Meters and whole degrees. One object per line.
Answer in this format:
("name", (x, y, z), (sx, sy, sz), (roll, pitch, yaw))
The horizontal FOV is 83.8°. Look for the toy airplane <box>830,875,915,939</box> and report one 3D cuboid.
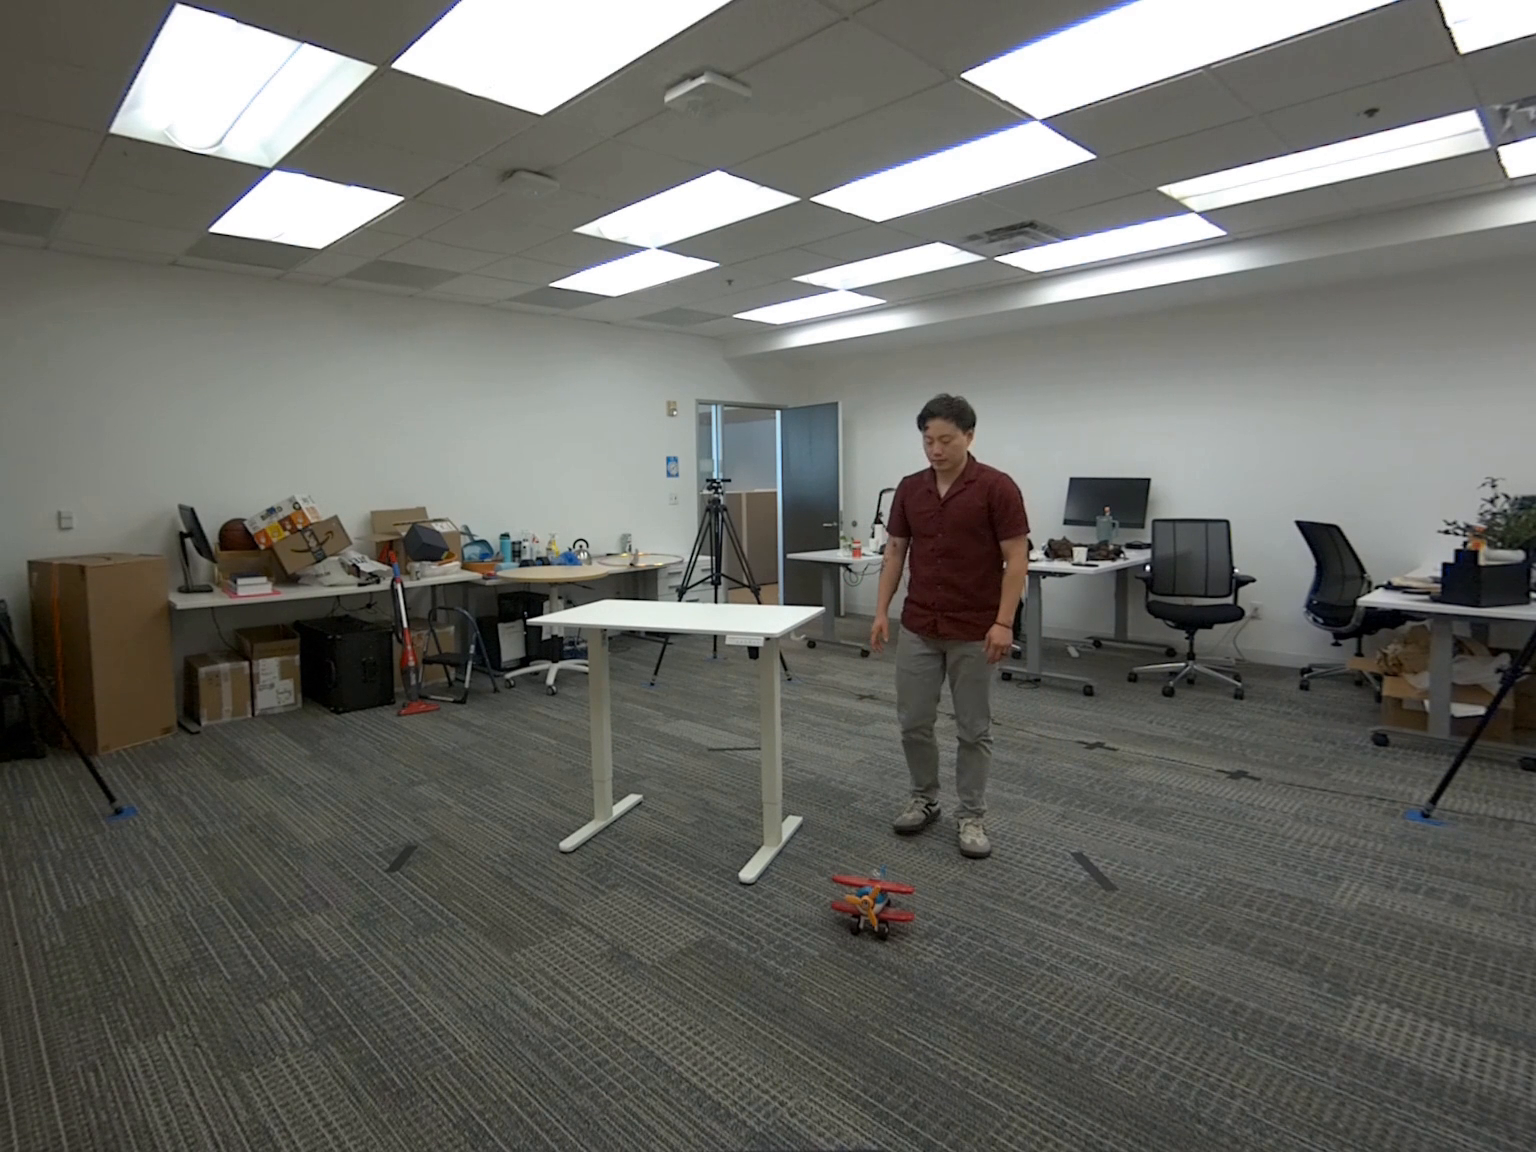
("toy airplane", (0.314, 1.015, 2.686), (0.249, 0.155, 0.262), (-3, 6, -8))
